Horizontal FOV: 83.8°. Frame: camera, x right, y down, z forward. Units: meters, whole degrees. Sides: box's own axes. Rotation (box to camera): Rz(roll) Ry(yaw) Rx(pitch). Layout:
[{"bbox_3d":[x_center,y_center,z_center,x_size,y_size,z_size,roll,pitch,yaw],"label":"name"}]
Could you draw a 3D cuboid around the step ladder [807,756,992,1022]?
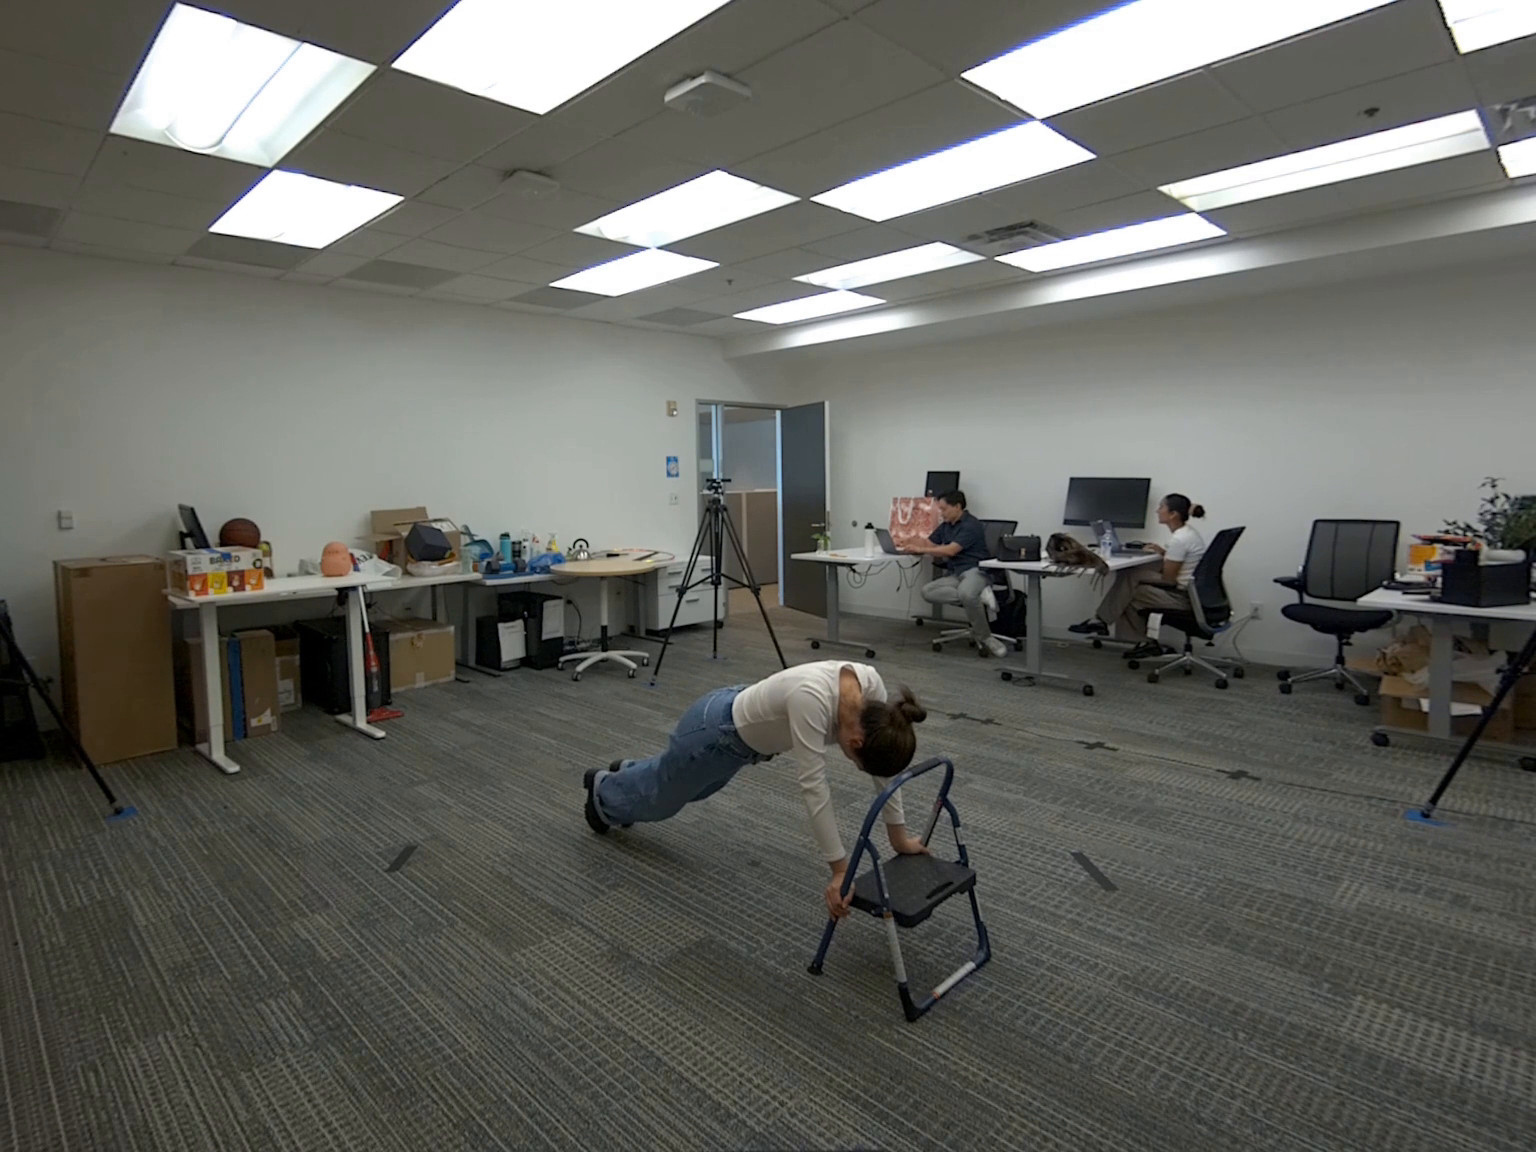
[{"bbox_3d":[0.384,0.816,2.425,0.360,0.604,0.419,3,6,43],"label":"step ladder"}]
